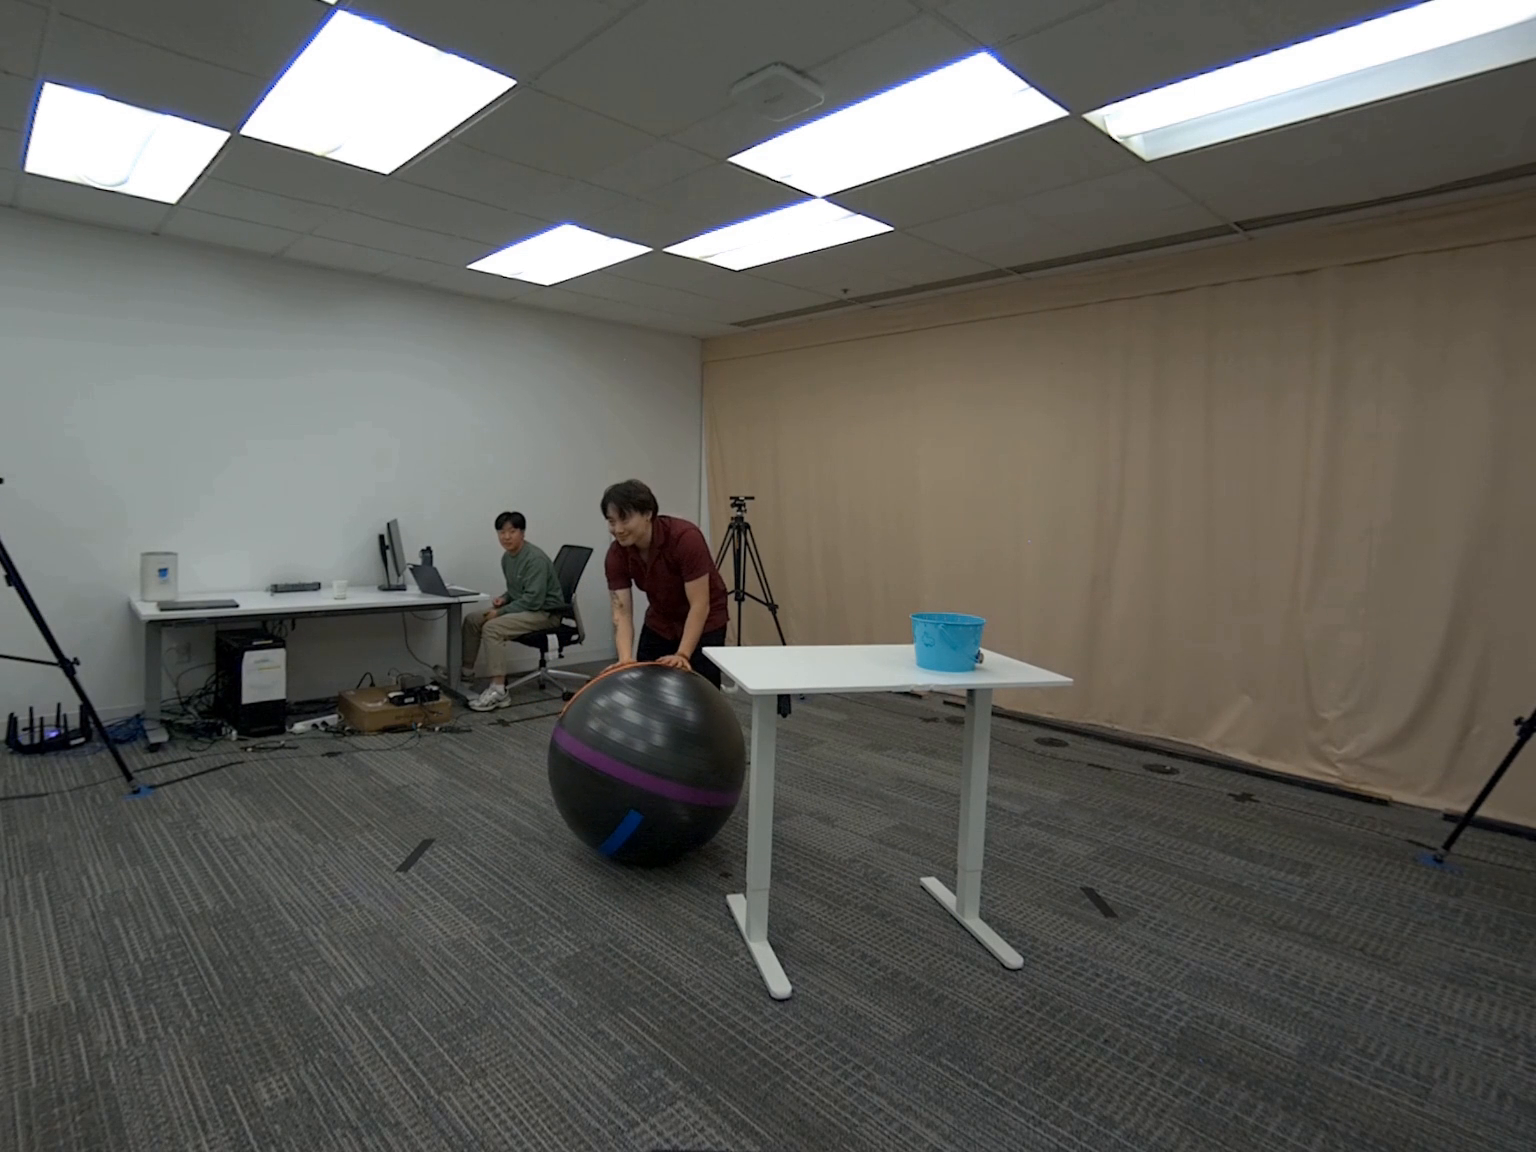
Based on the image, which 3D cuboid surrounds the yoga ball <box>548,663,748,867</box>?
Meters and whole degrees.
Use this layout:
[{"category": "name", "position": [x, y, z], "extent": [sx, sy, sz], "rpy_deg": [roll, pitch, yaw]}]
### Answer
[{"category": "yoga ball", "position": [-0.472, 0.719, 3.277], "extent": [0.757, 0.756, 0.760], "rpy_deg": [1, 4, -1]}]
